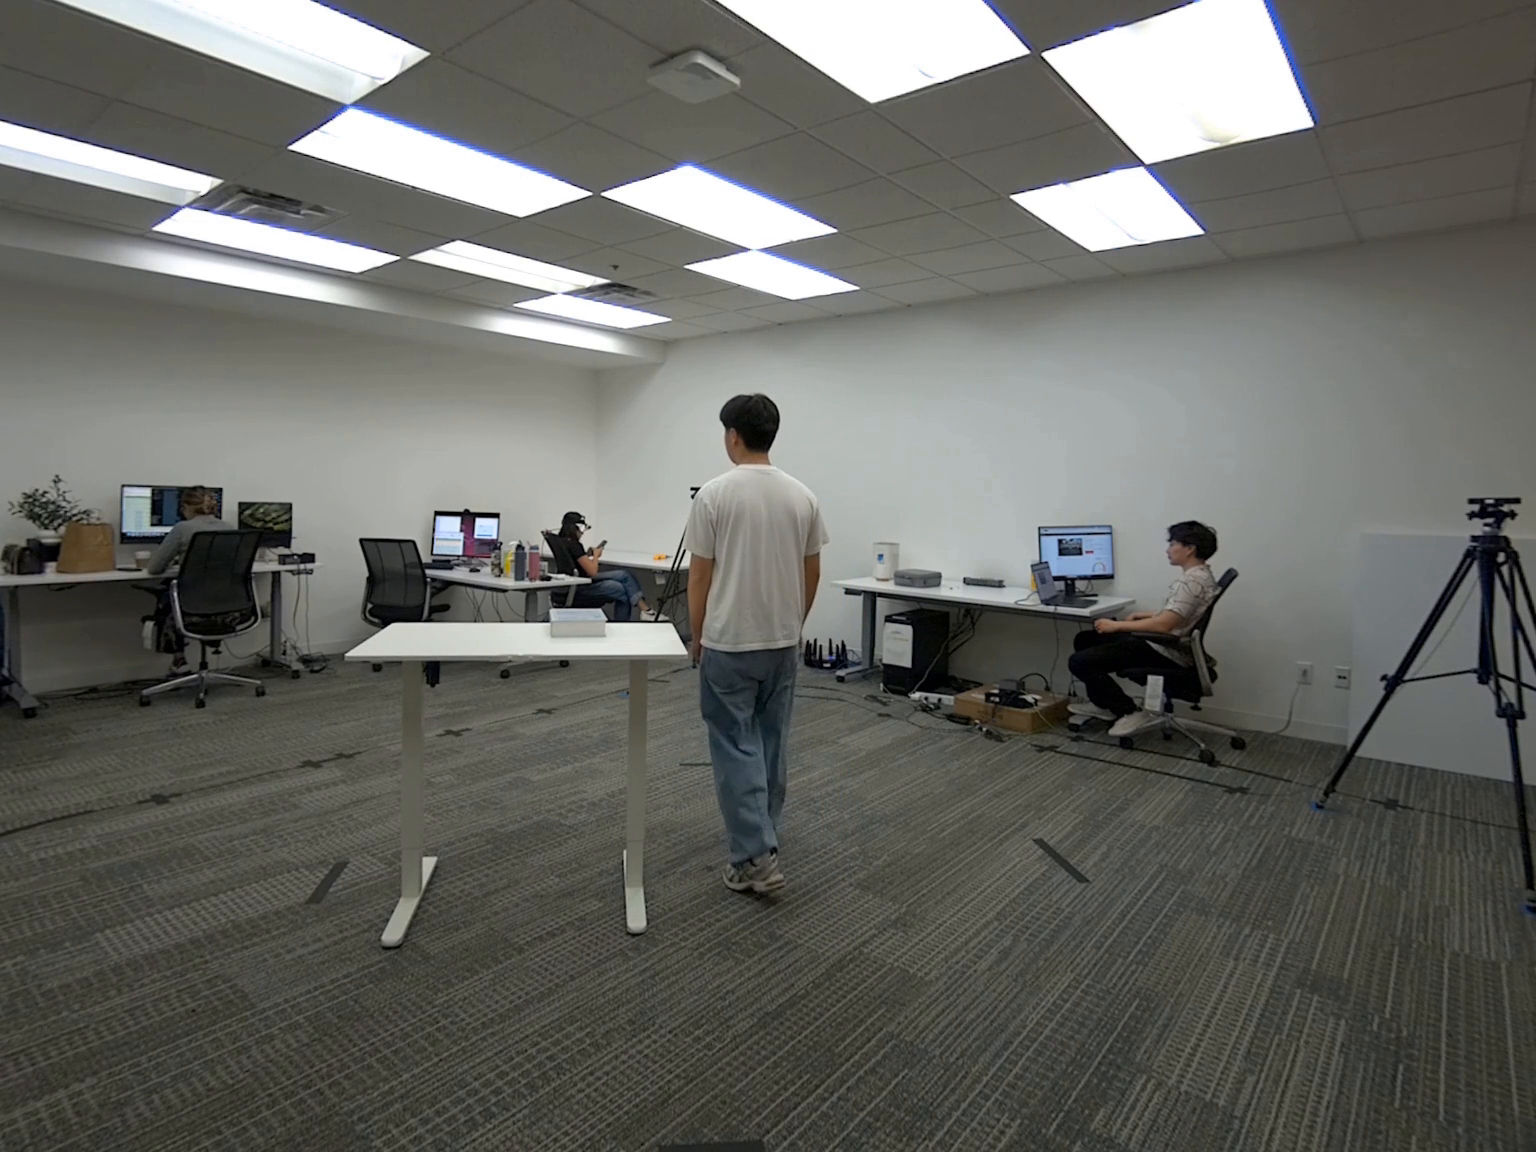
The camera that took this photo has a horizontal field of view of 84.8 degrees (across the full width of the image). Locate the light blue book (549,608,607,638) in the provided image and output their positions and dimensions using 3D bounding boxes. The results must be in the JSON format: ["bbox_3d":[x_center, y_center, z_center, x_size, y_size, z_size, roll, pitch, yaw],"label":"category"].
[{"bbox_3d":[-0.685,0.164,2.988,0.188,0.059,0.266,1,6,-16],"label":"light blue book"}]
